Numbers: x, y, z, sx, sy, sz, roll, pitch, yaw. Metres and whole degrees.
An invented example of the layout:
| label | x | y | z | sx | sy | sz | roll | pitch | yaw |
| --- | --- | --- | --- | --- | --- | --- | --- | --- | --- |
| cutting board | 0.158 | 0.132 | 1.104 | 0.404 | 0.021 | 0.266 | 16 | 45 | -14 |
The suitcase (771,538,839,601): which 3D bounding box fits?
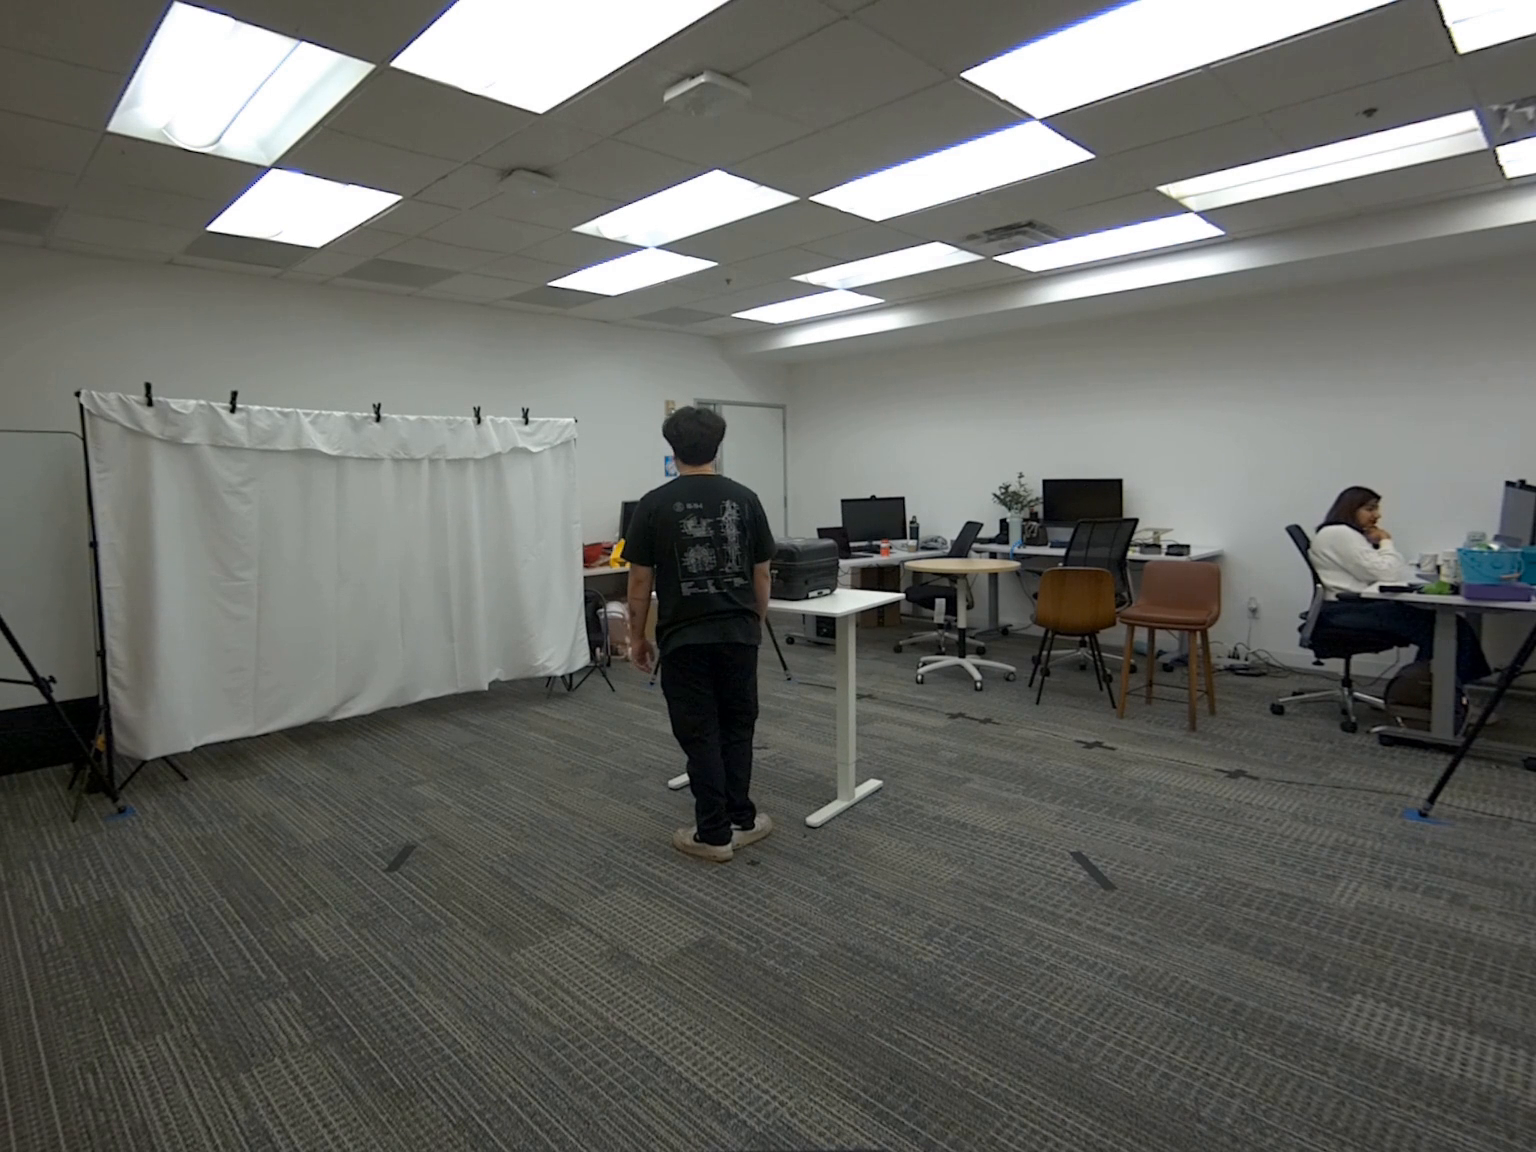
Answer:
| label | x | y | z | sx | sy | sz | roll | pitch | yaw |
| --- | --- | --- | --- | --- | --- | --- | --- | --- | --- |
| suitcase | 0.031 | -0.038 | 3.829 | 0.566 | 0.247 | 0.366 | 4 | 7 | 41 |
